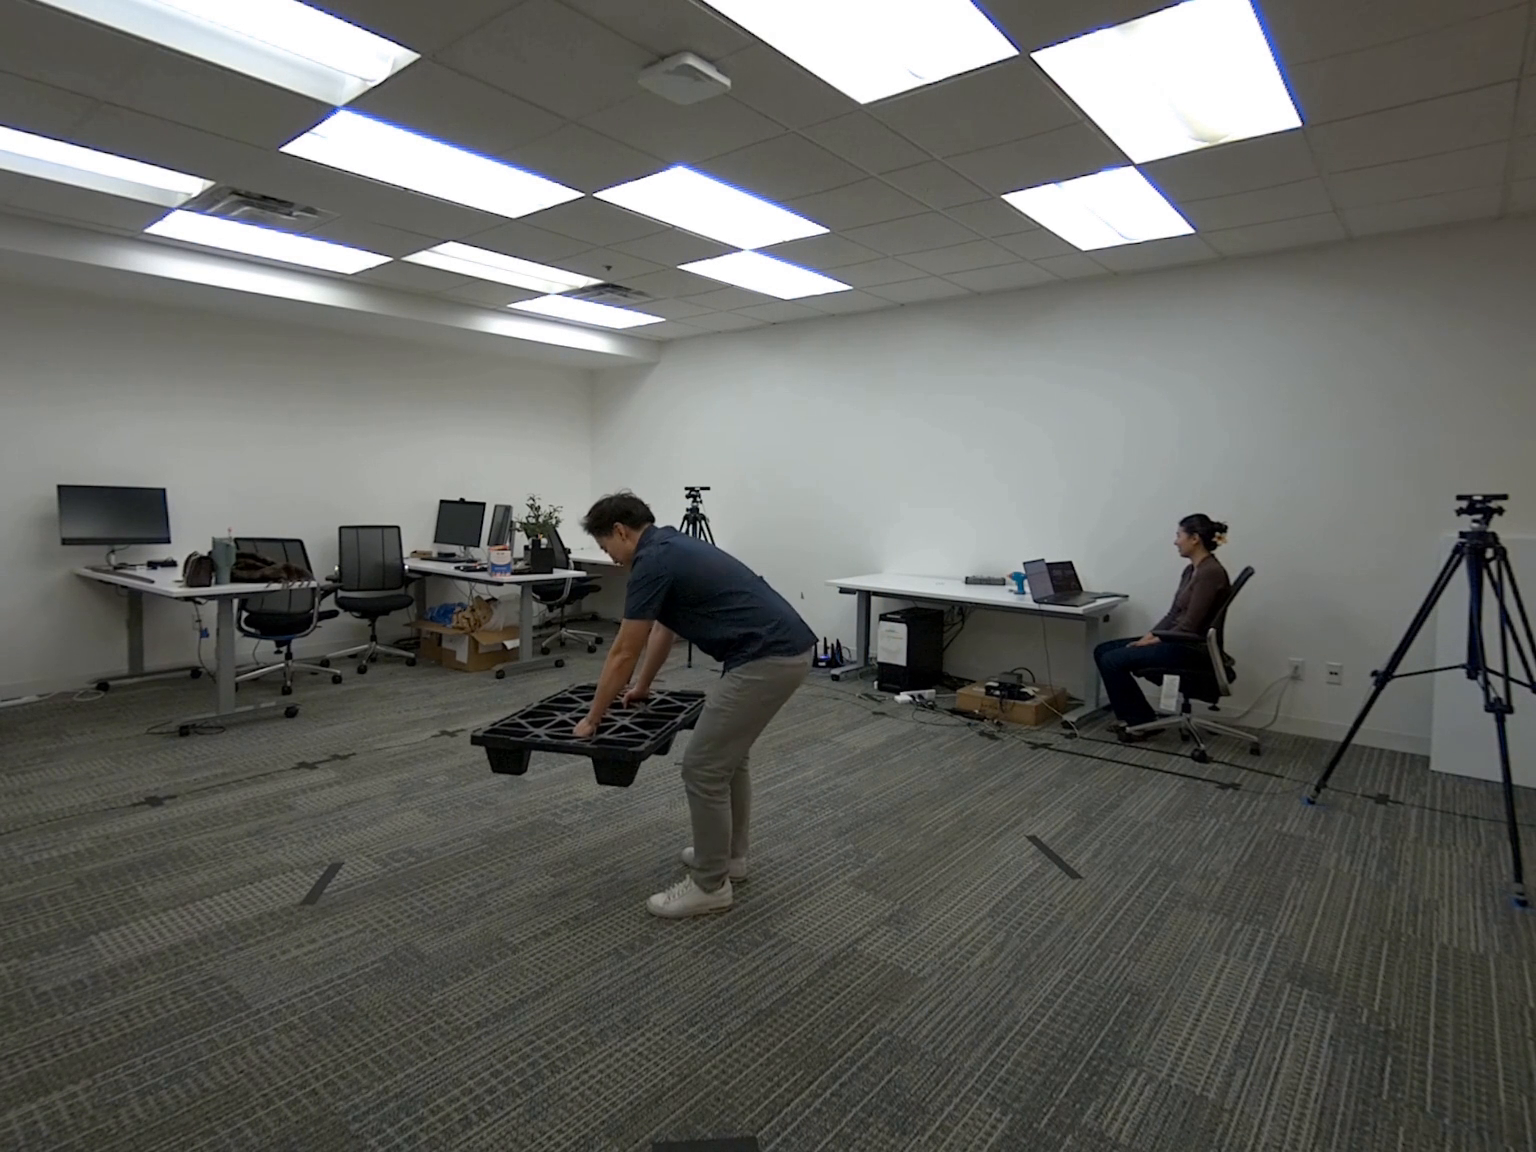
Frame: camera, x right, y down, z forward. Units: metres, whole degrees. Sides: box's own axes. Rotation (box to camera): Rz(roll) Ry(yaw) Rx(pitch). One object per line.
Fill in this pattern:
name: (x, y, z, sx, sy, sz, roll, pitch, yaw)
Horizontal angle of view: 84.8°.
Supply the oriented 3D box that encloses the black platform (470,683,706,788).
black platform: (-0.589, 0.546, 3.018, 0.615, 0.143, 0.795, 2, 6, 14)
